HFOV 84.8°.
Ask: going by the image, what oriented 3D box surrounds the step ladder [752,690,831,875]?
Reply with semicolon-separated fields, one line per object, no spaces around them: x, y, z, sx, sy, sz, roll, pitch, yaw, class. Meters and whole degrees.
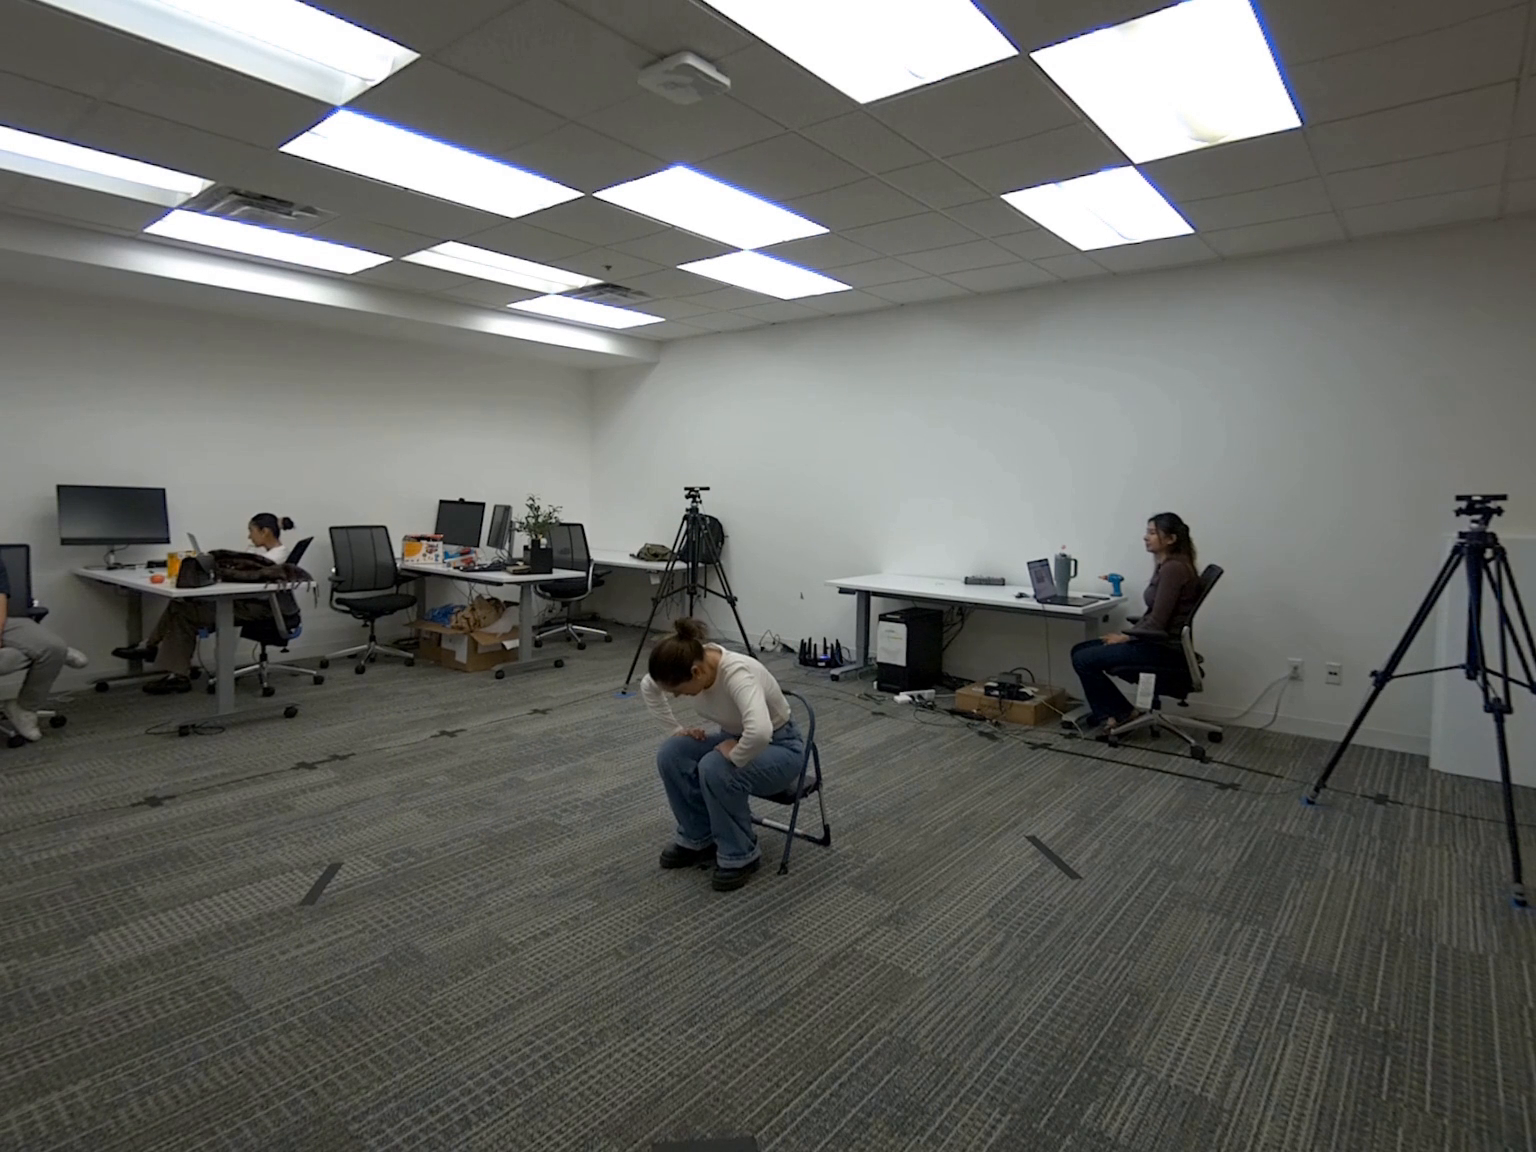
-0.017;0.742;3.317;0.445;0.604;0.339;4;5;37;step ladder
